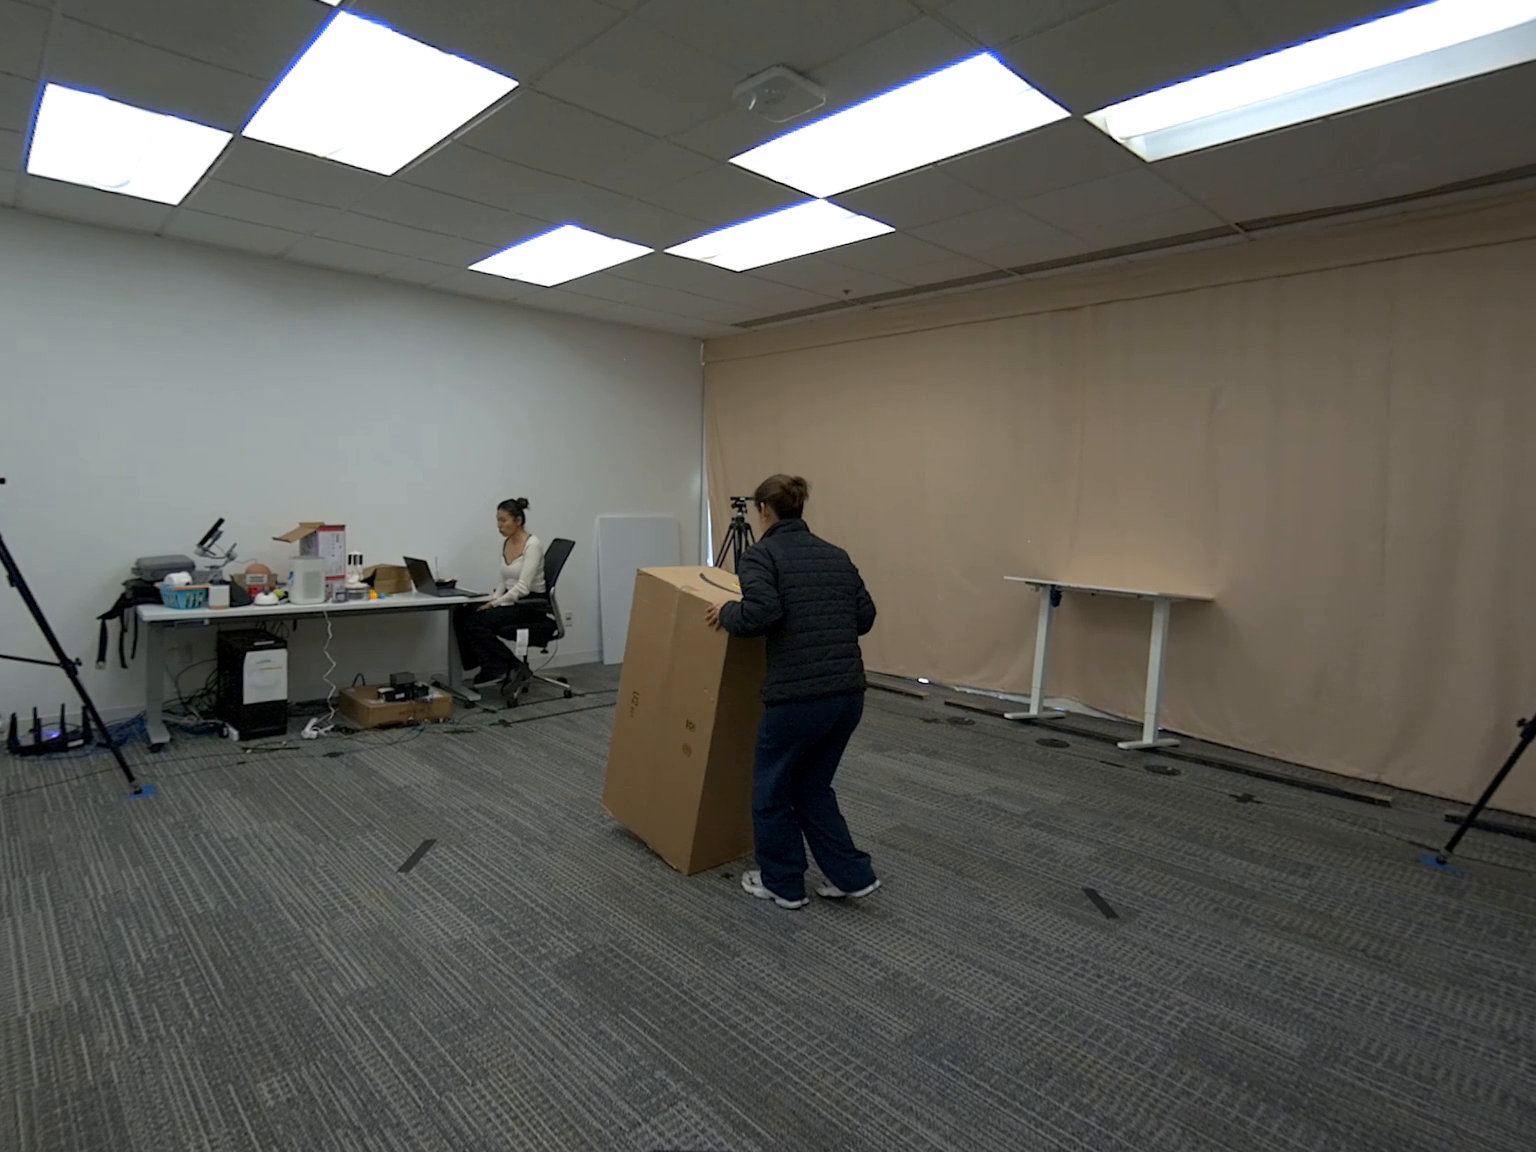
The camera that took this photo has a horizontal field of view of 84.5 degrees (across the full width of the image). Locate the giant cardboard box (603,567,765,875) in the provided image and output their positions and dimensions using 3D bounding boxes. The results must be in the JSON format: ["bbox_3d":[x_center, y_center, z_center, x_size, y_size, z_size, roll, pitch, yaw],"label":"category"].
[{"bbox_3d":[-0.266,0.535,3.342,0.436,1.021,0.601,1,13,-44],"label":"giant cardboard box"}]
